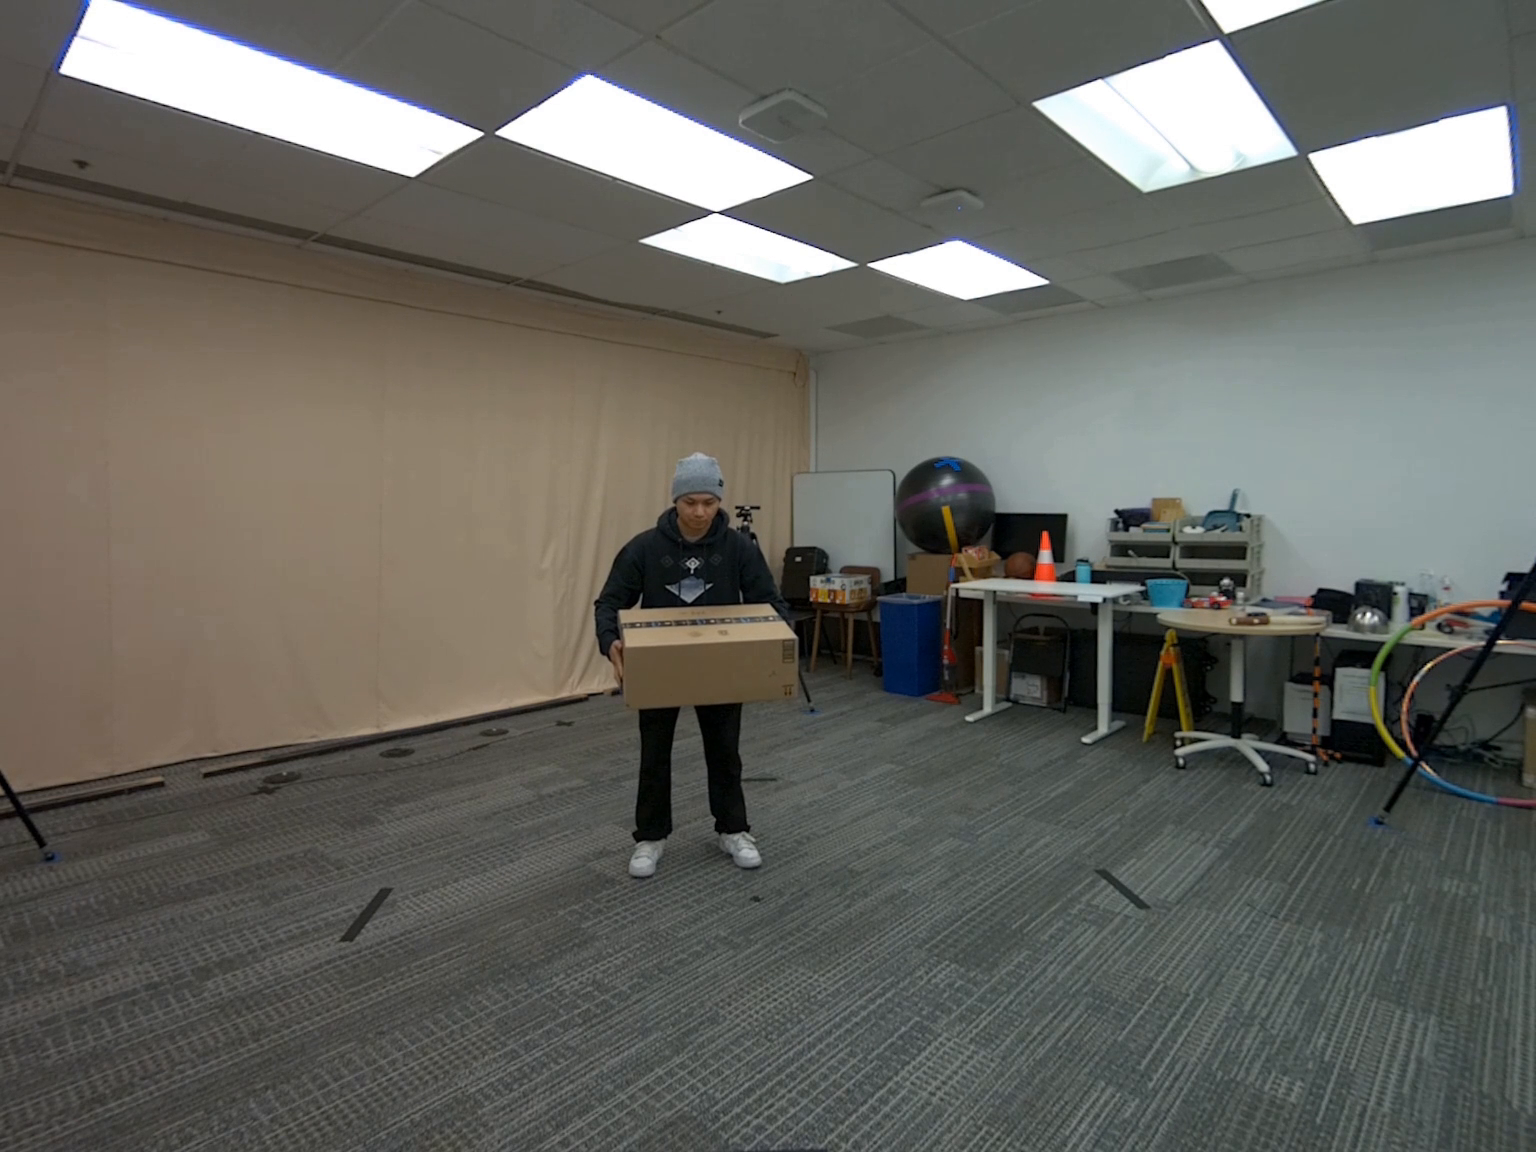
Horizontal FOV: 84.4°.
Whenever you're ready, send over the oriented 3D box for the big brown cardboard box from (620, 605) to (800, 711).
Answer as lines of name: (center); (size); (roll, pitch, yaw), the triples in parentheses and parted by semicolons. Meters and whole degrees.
big brown cardboard box: (-0.226, 0.268, 2.922); (0.584, 0.231, 0.425); (-3, 14, -9)
